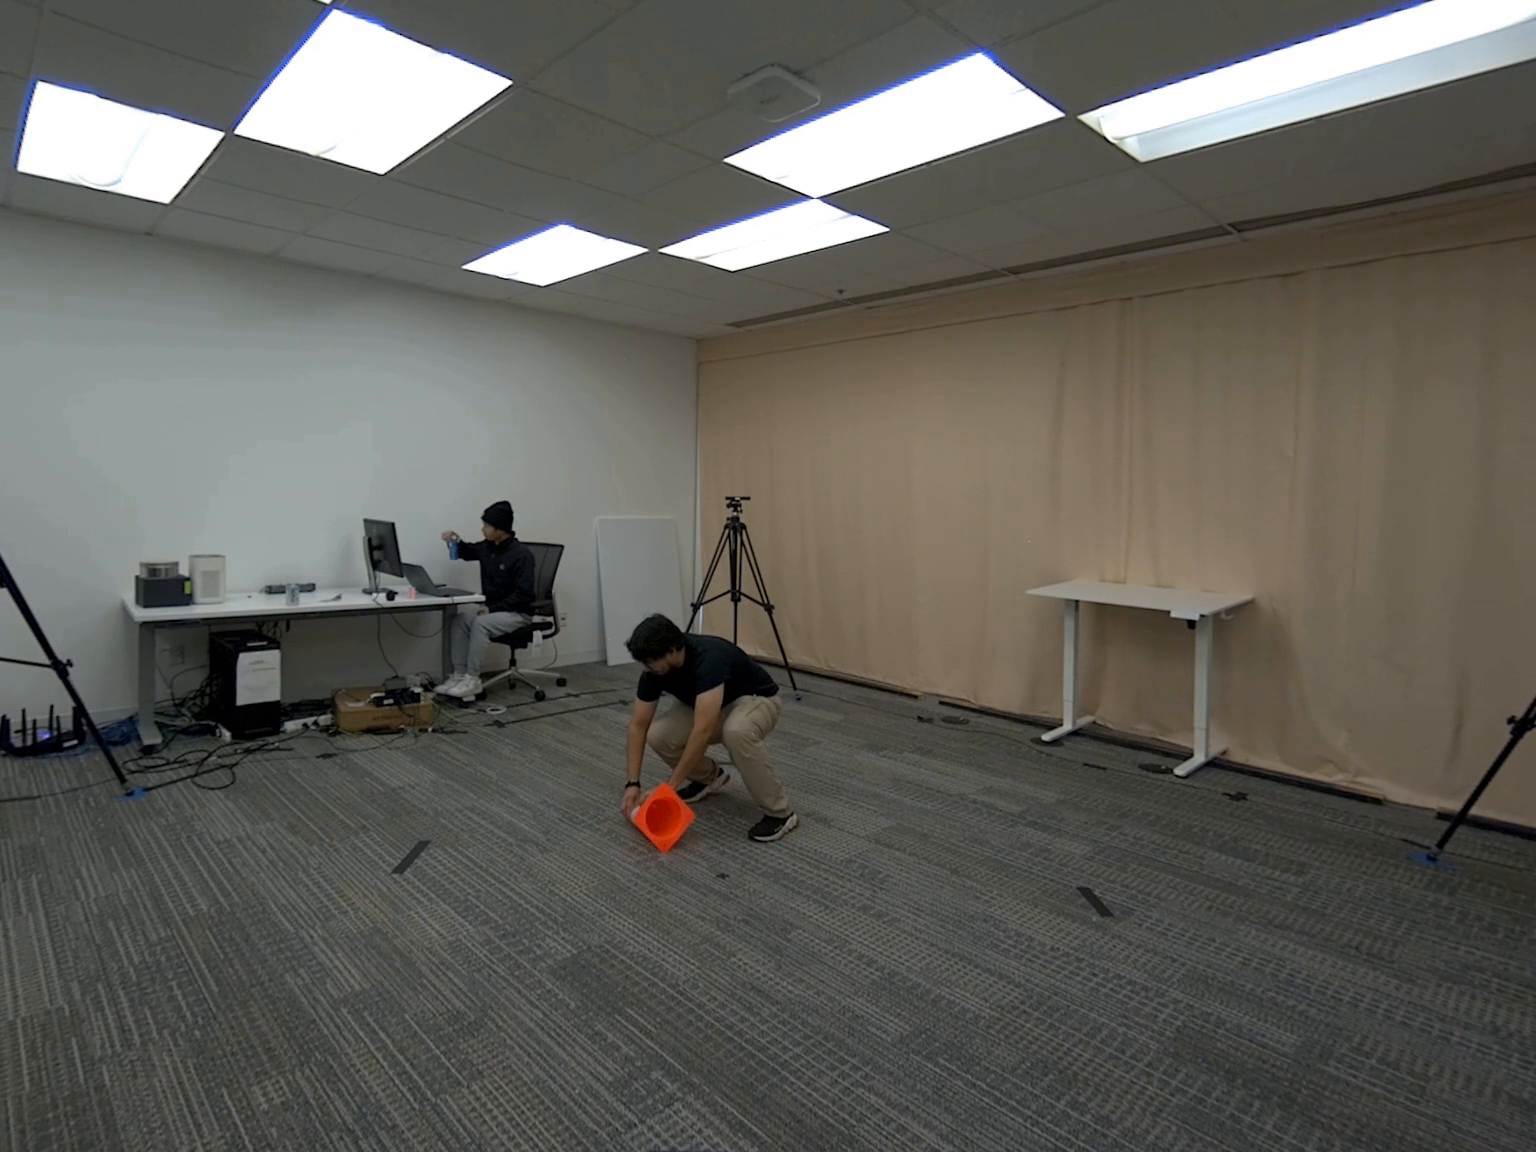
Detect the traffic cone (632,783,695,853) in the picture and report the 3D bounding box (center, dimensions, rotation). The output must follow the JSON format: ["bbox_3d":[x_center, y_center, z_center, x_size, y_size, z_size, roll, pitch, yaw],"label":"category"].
[{"bbox_3d":[-0.516,0.990,3.484,0.205,0.201,0.388,-47,14,-30],"label":"traffic cone"}]
